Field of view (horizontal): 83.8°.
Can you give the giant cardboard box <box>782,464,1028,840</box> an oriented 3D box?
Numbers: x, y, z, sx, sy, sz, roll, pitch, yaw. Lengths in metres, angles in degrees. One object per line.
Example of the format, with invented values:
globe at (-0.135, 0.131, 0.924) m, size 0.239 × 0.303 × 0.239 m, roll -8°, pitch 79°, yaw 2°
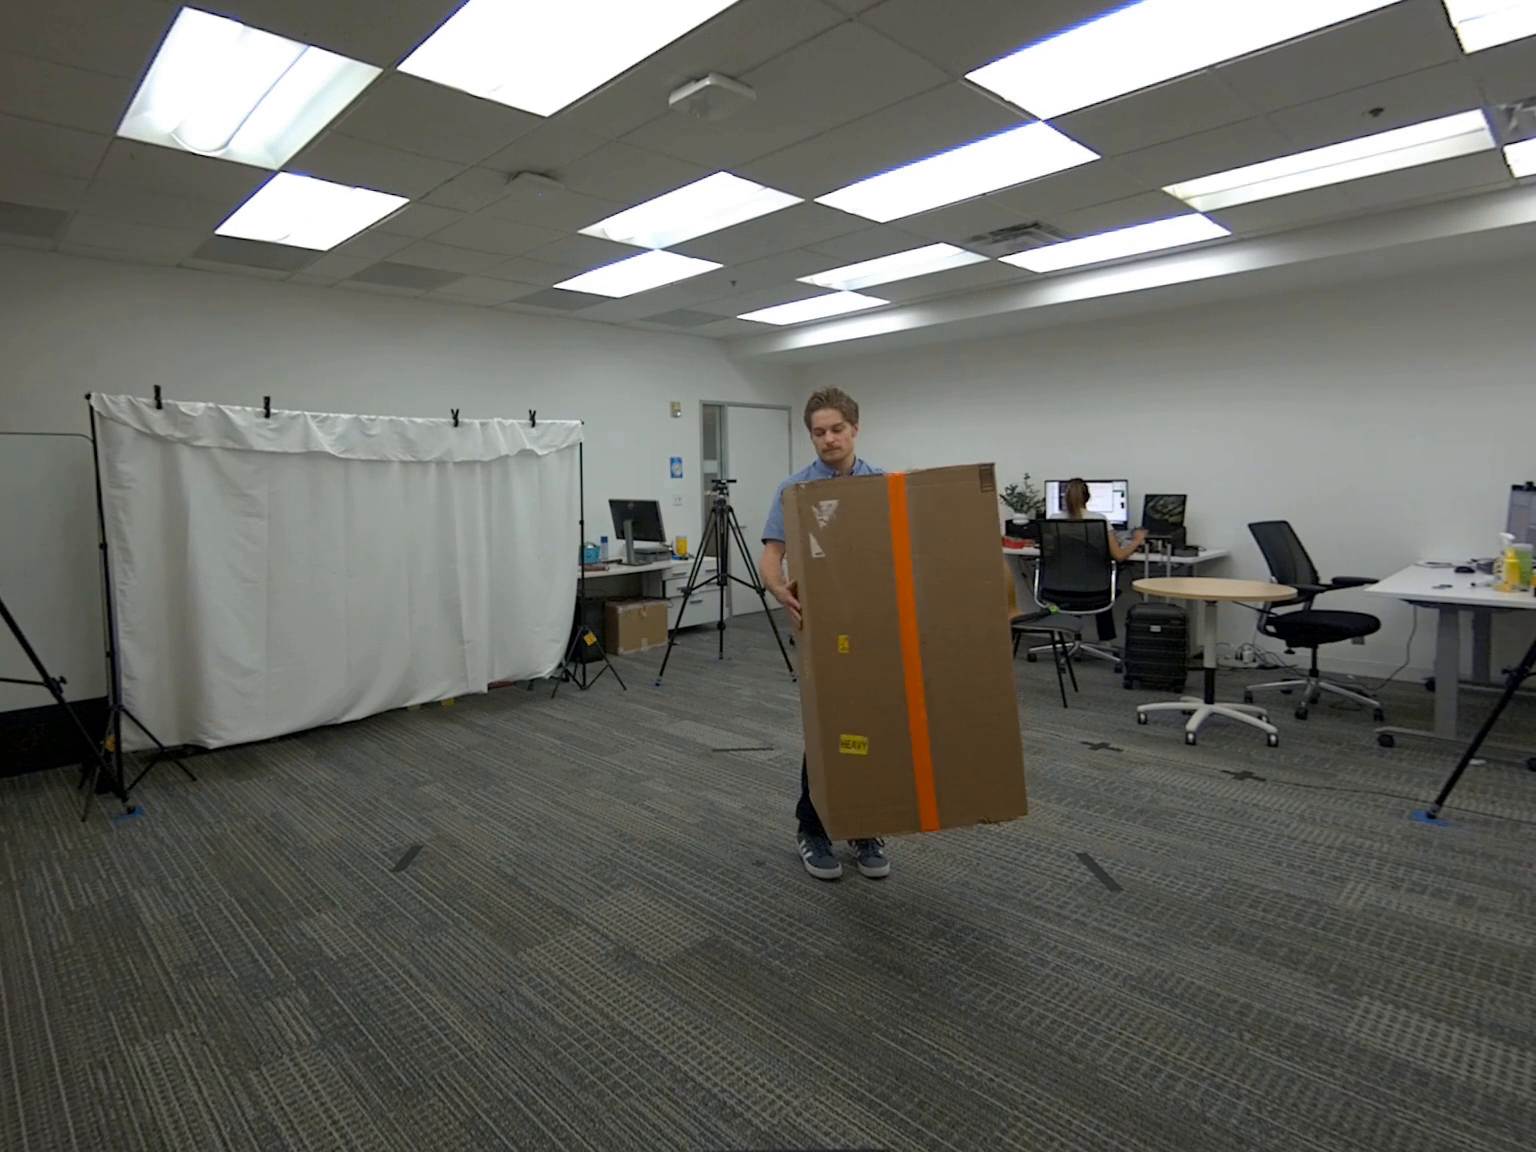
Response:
giant cardboard box at (0.385, 0.206, 2.623) m, size 0.576 × 1.026 × 0.427 m, roll -6°, pitch 0°, yaw -3°
